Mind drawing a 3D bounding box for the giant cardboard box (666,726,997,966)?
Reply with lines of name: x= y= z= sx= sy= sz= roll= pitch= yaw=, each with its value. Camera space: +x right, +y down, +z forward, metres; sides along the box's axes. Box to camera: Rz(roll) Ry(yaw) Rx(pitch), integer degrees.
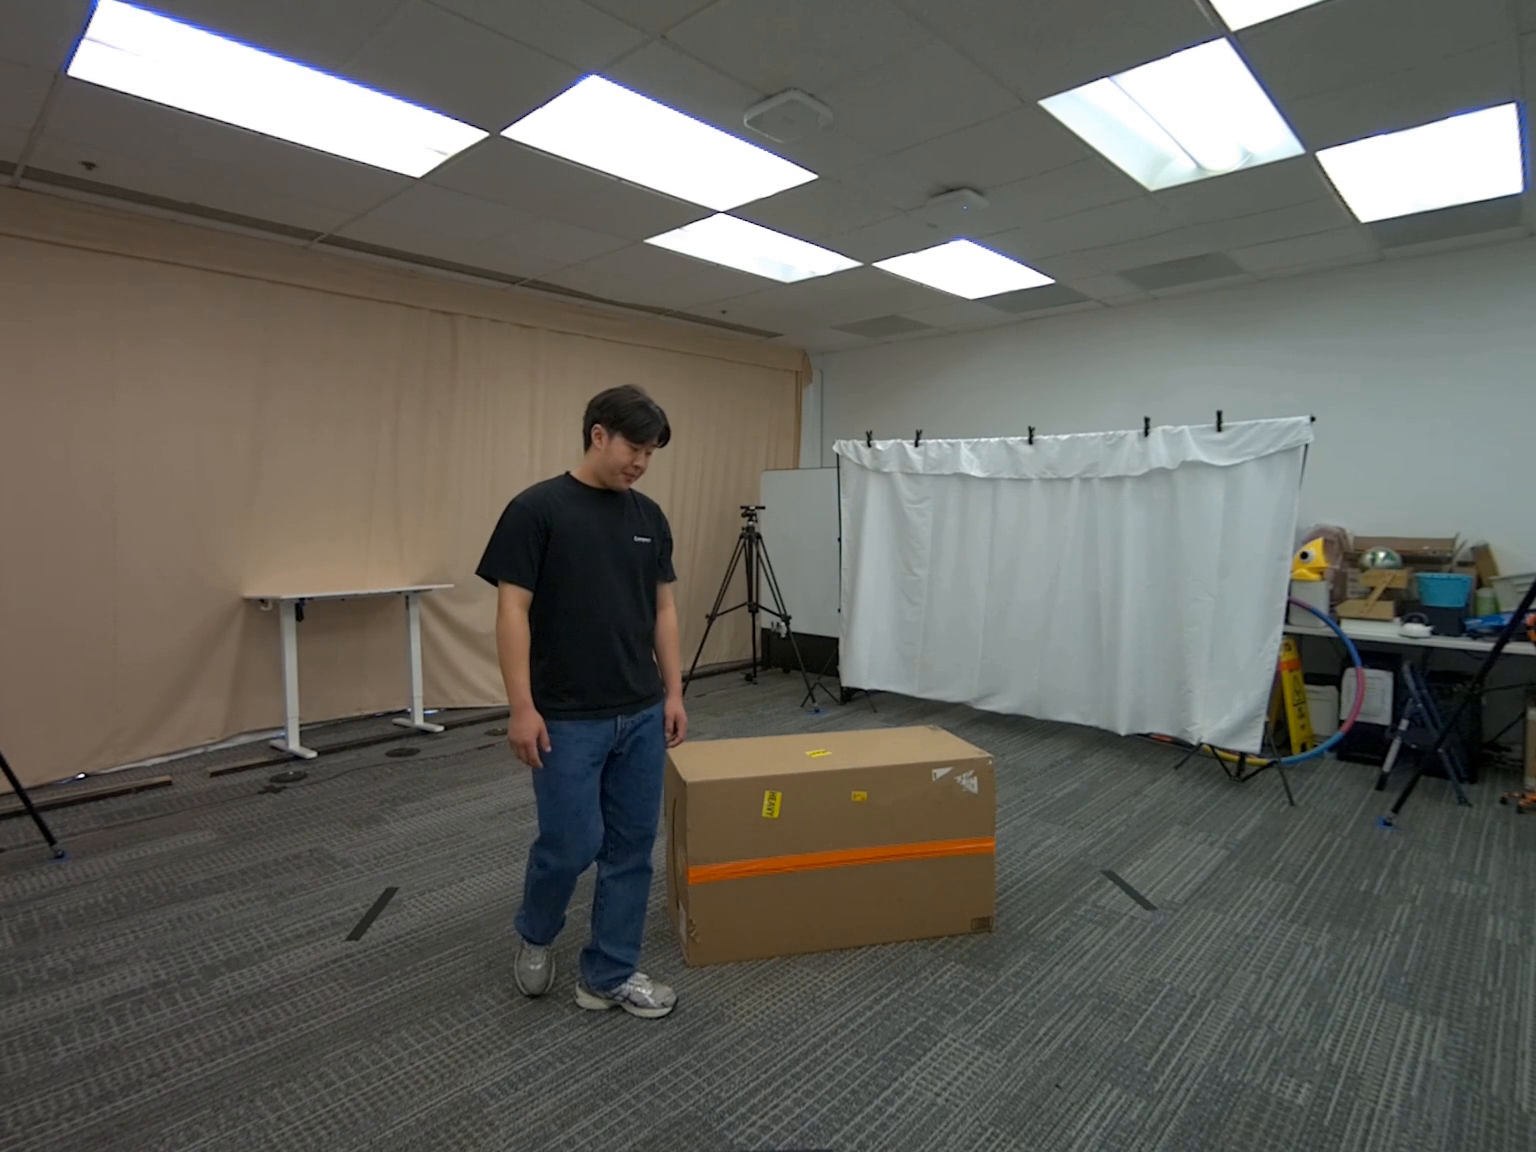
giant cardboard box: x=0.192 y=0.866 z=2.832 sx=1.013 sy=0.582 sz=0.454 roll=-2 pitch=5 yaw=-13
